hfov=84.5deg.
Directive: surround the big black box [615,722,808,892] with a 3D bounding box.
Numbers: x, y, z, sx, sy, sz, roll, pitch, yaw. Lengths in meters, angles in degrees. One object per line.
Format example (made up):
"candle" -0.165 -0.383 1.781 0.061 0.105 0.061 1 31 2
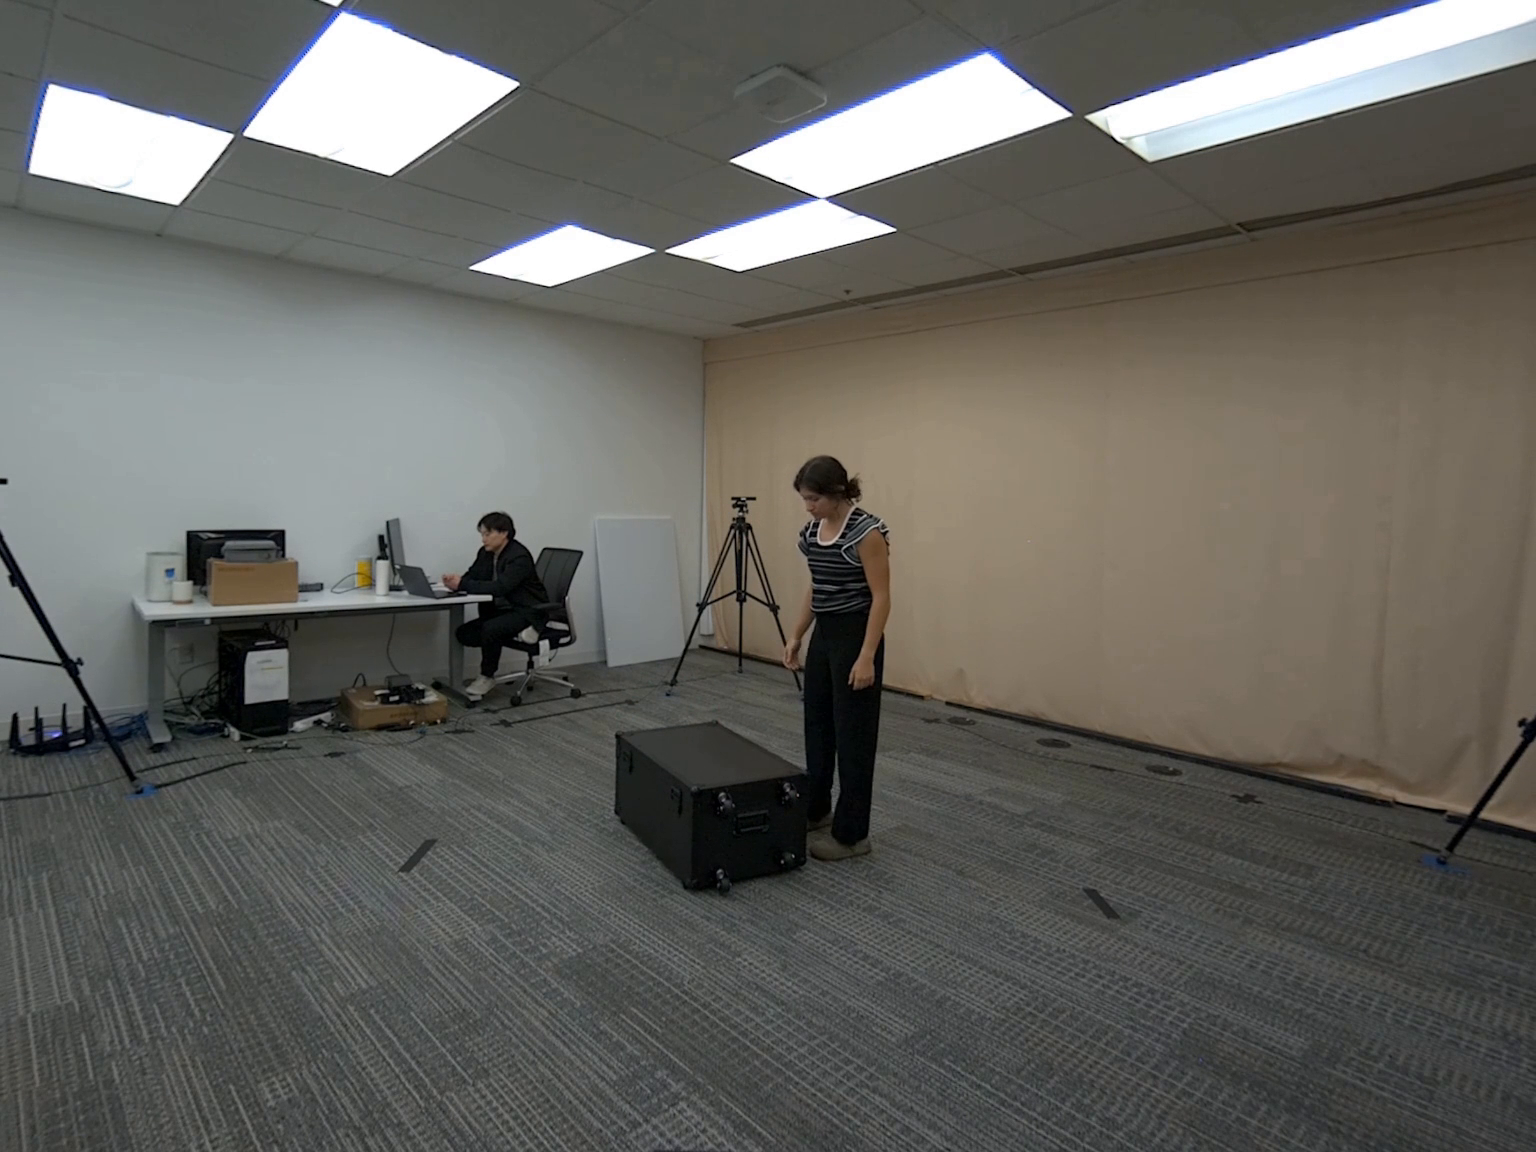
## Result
"big black box" -0.247 0.891 3.354 0.511 0.395 0.881 -1 5 -29
